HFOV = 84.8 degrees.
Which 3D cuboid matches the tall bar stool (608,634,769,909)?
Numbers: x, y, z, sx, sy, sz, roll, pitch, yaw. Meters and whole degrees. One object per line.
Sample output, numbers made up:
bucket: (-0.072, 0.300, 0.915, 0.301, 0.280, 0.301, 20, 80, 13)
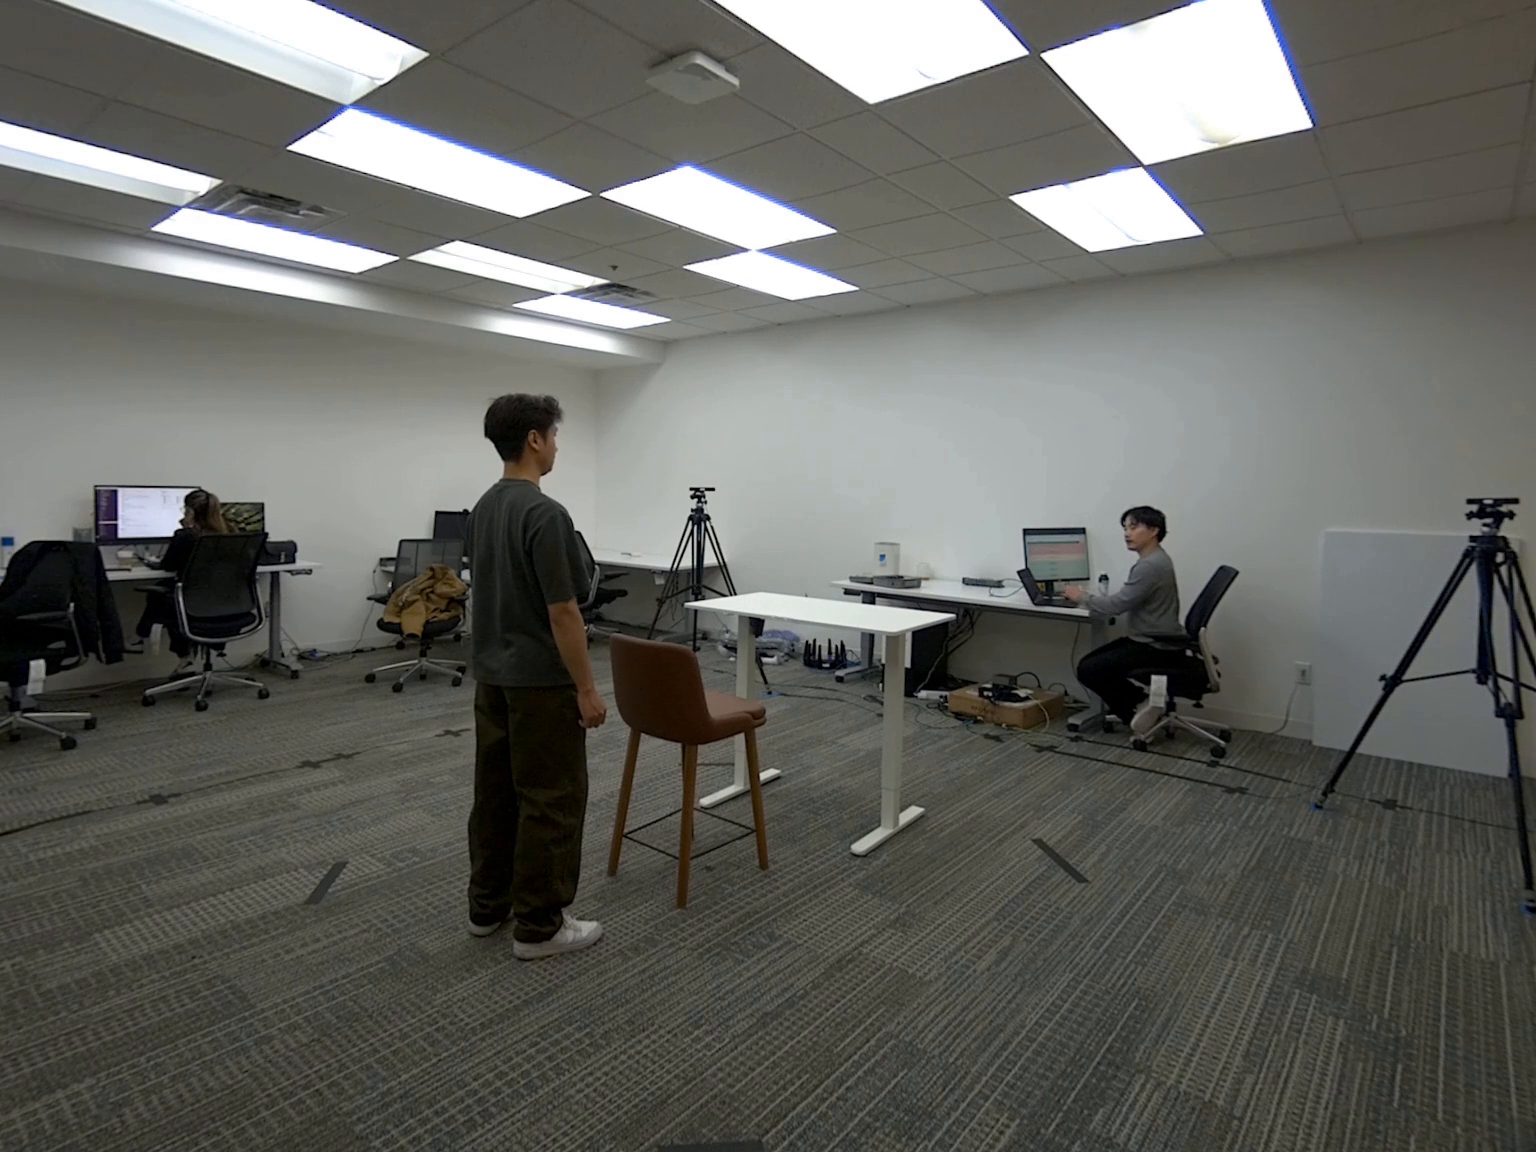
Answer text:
tall bar stool: (-0.307, 0.632, 3.059, 0.472, 0.886, 0.454, 3, 5, 40)
